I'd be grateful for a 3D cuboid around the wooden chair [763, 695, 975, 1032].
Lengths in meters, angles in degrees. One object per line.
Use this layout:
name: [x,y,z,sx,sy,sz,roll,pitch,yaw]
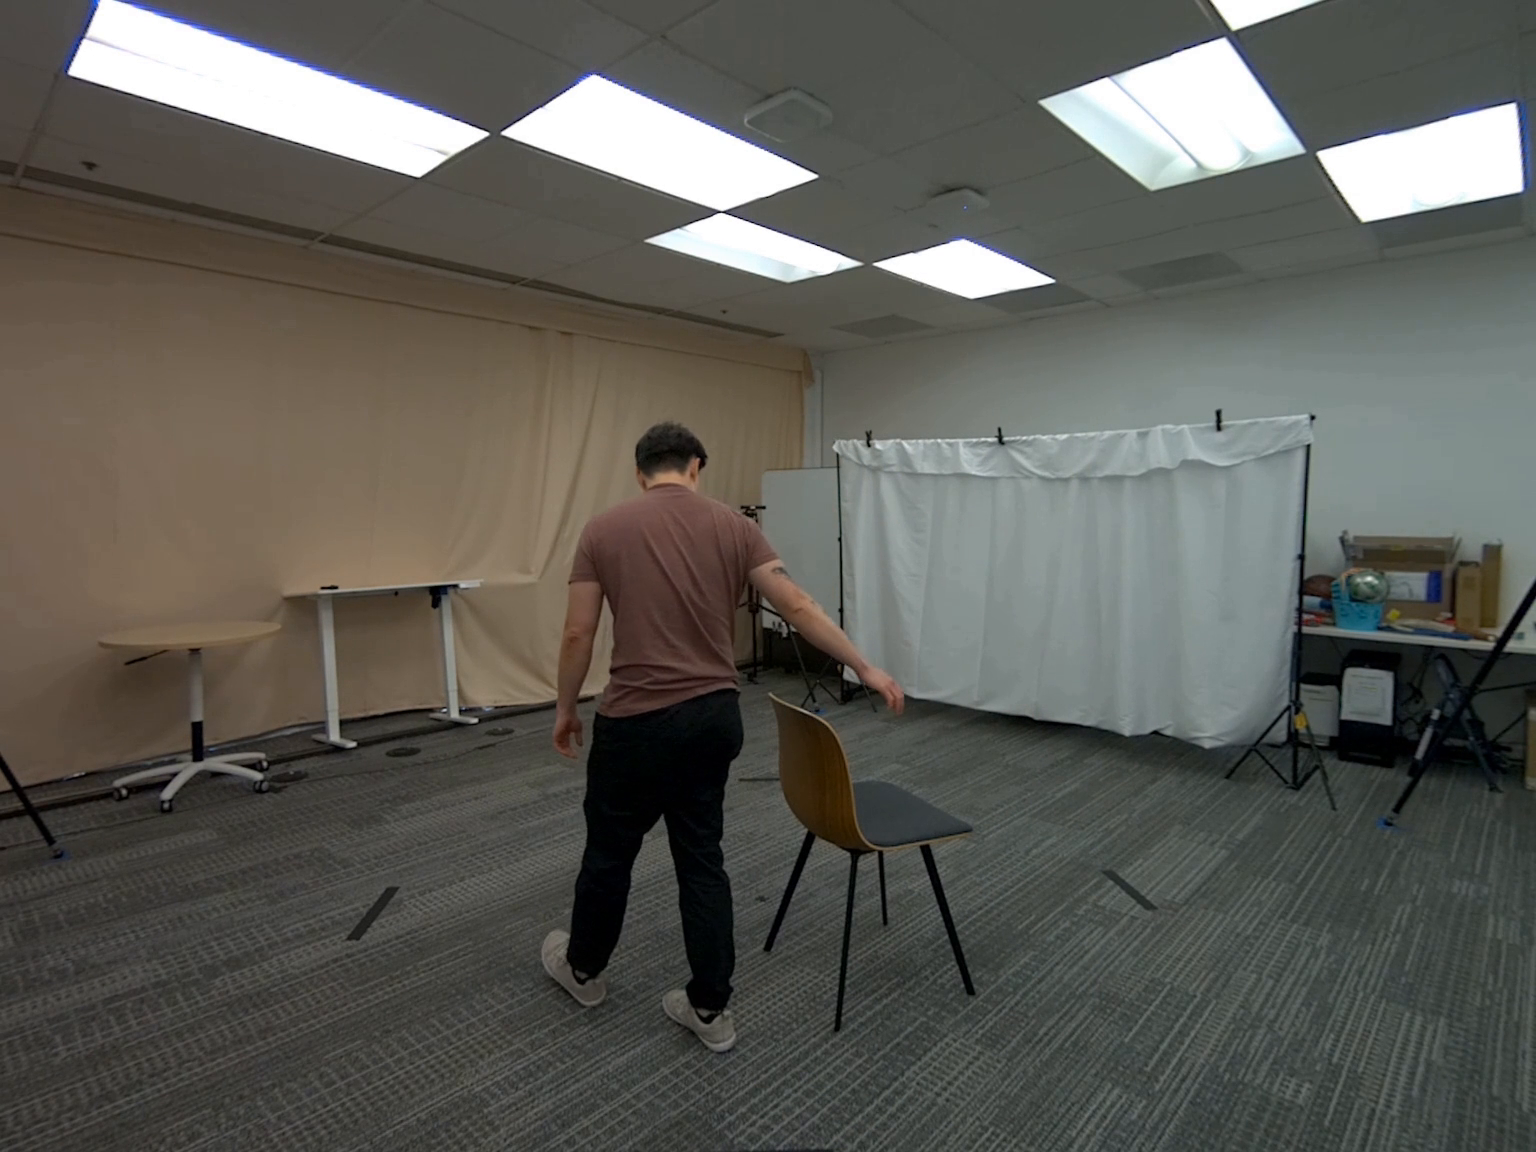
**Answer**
wooden chair: [0.300,0.758,2.494,0.512,0.874,0.490,-6,5,-24]
